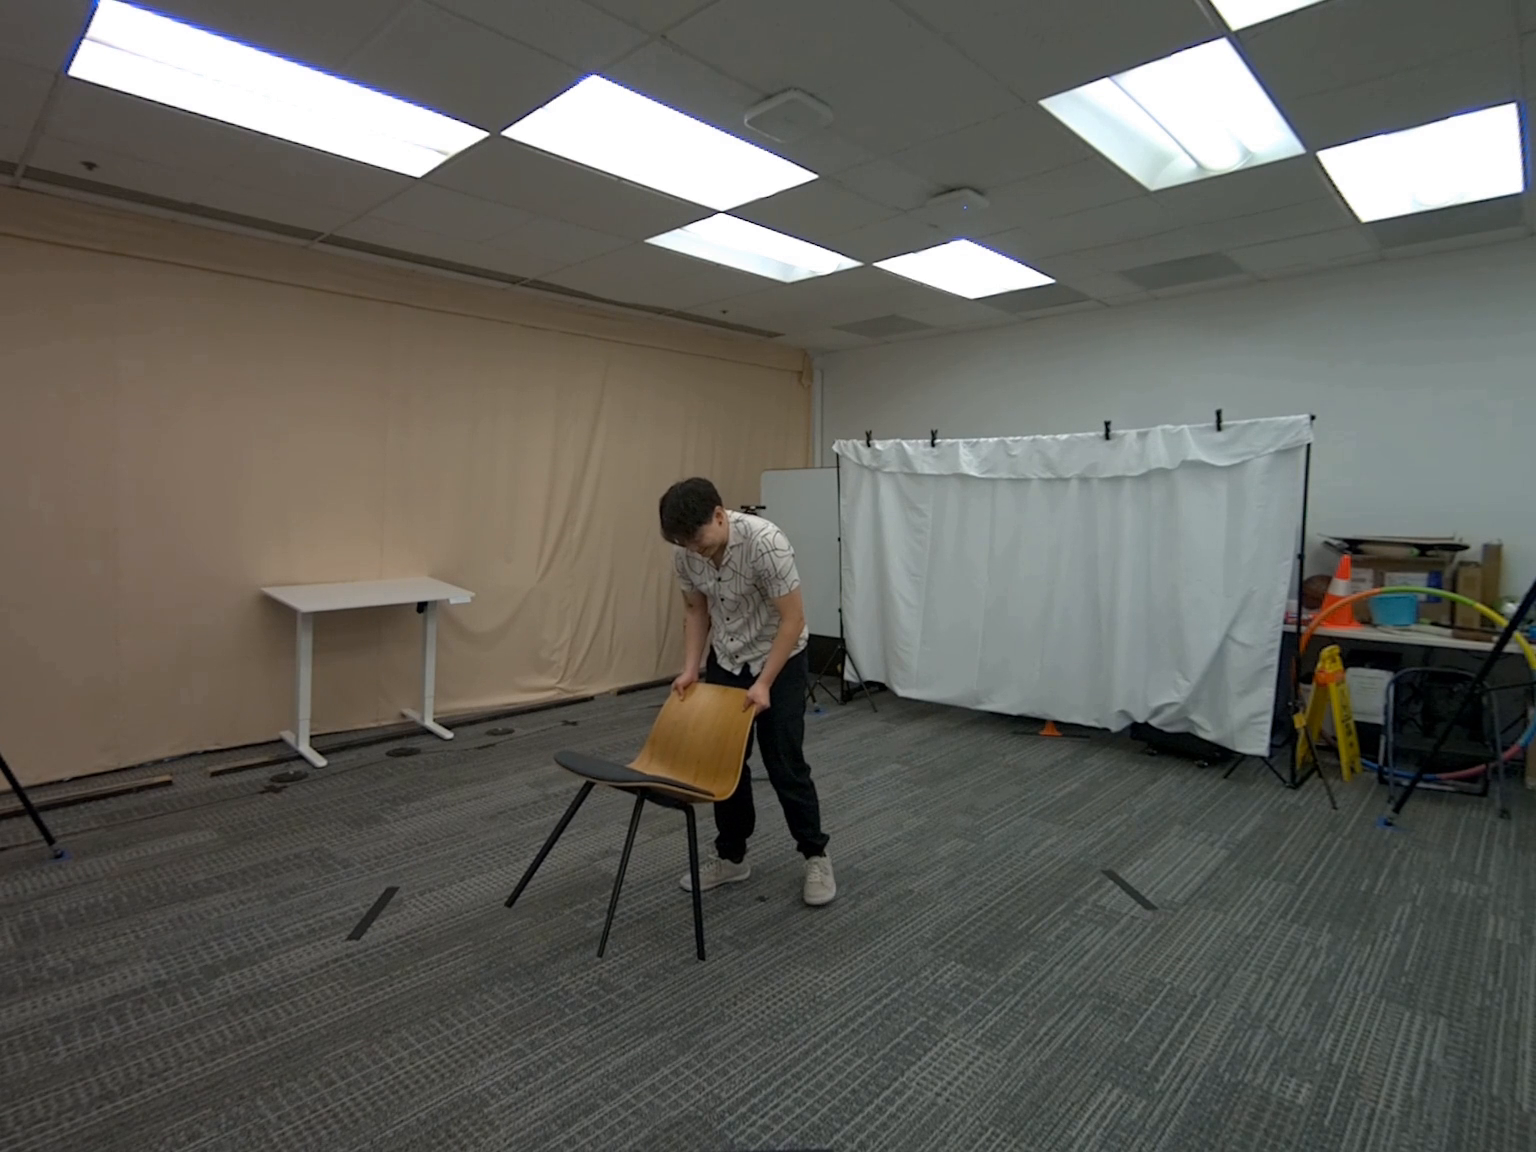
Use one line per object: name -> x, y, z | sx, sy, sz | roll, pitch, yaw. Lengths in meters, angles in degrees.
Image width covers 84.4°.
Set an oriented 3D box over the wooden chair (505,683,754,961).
wooden chair -> -0.392, 0.687, 2.663 | 0.494, 0.881, 0.504 | 3, -23, 41
